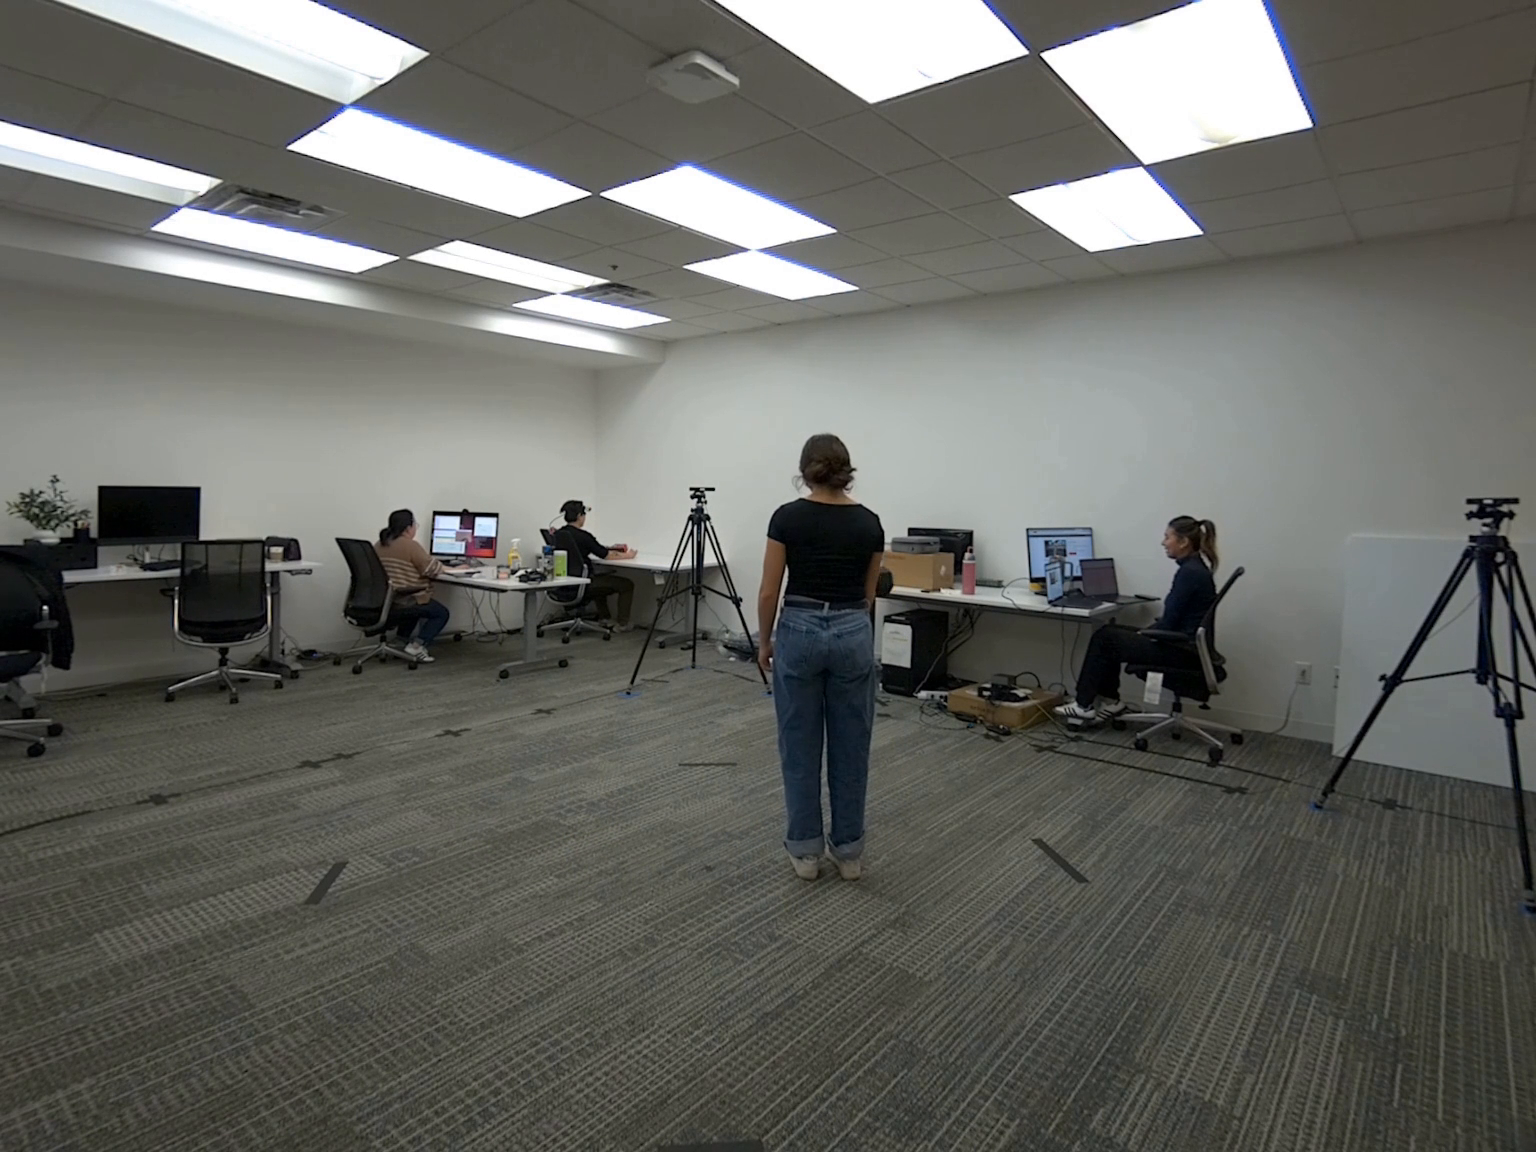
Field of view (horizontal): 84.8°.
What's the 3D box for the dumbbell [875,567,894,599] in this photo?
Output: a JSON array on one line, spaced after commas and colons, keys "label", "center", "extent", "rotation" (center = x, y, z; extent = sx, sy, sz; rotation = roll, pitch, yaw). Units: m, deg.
[{"label": "dumbbell", "center": [0.341, 0.028, 3.366], "extent": [0.289, 0.107, 0.127], "rotation": [-6, 22, -18]}]
